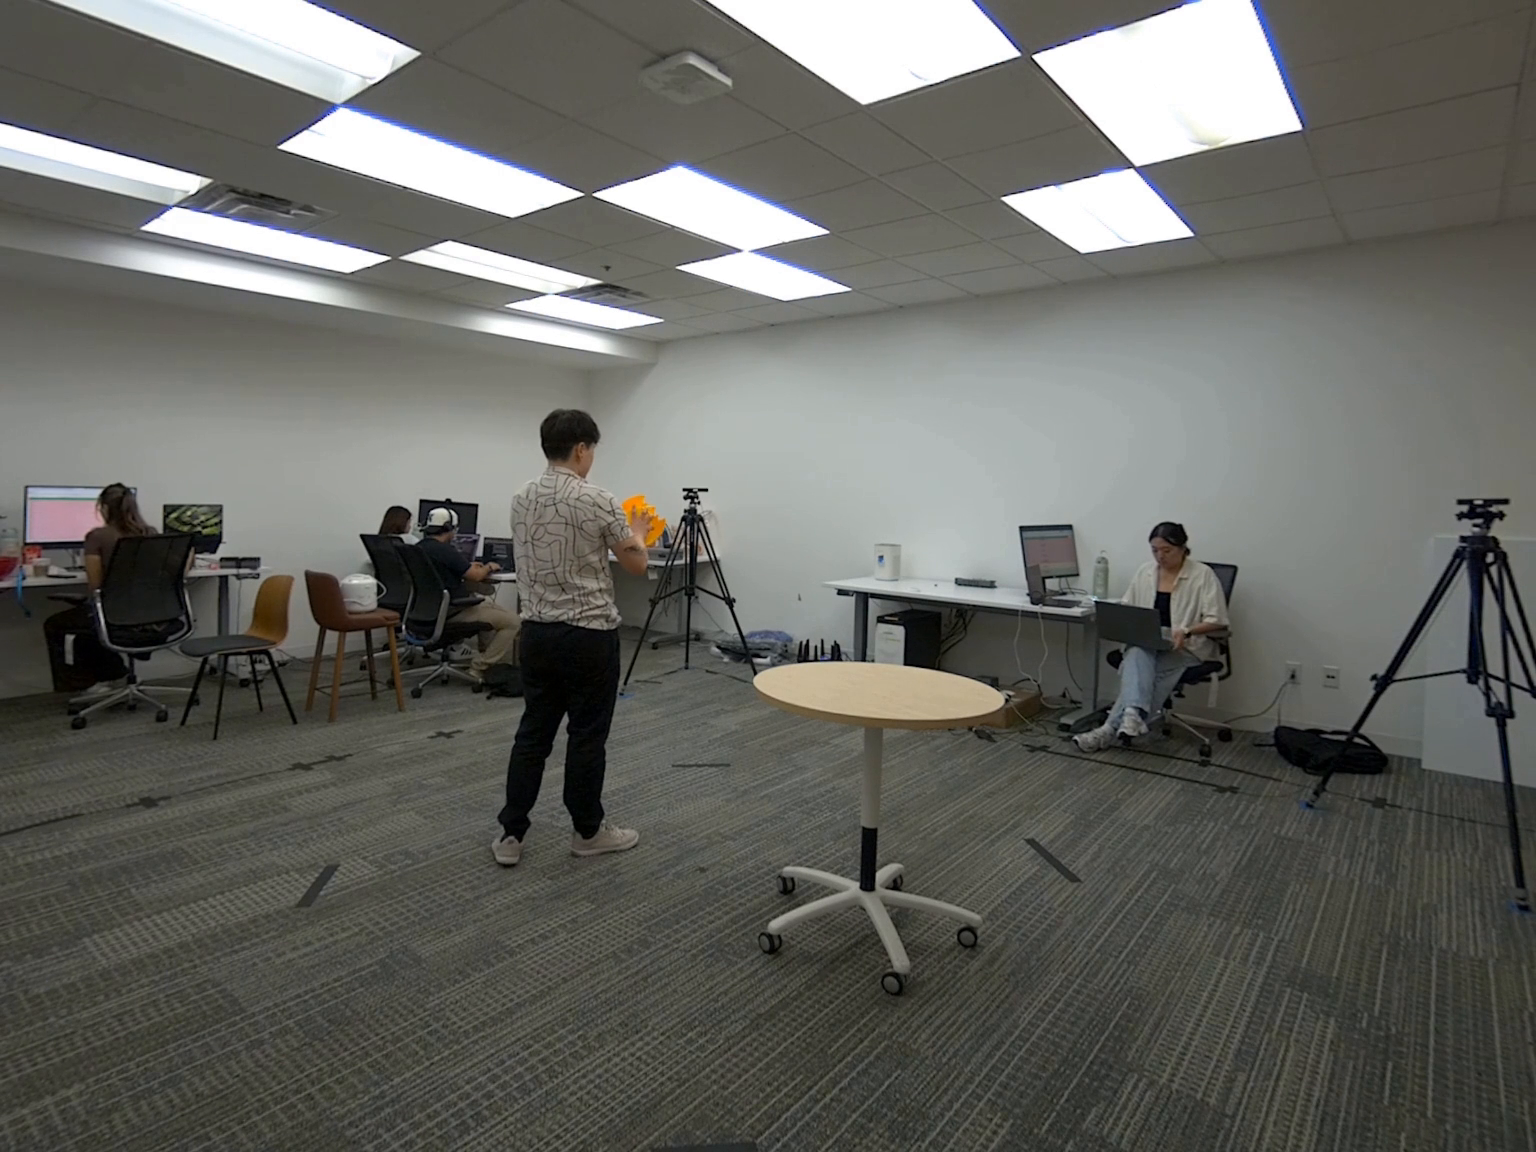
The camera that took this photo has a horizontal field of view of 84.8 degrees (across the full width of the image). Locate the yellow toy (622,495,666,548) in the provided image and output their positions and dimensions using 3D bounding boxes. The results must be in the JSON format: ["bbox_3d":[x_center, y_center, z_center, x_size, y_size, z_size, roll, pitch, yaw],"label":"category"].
[{"bbox_3d":[-0.566,-0.228,3.571,0.193,0.203,0.233,-42,9,-9],"label":"yellow toy"}]
